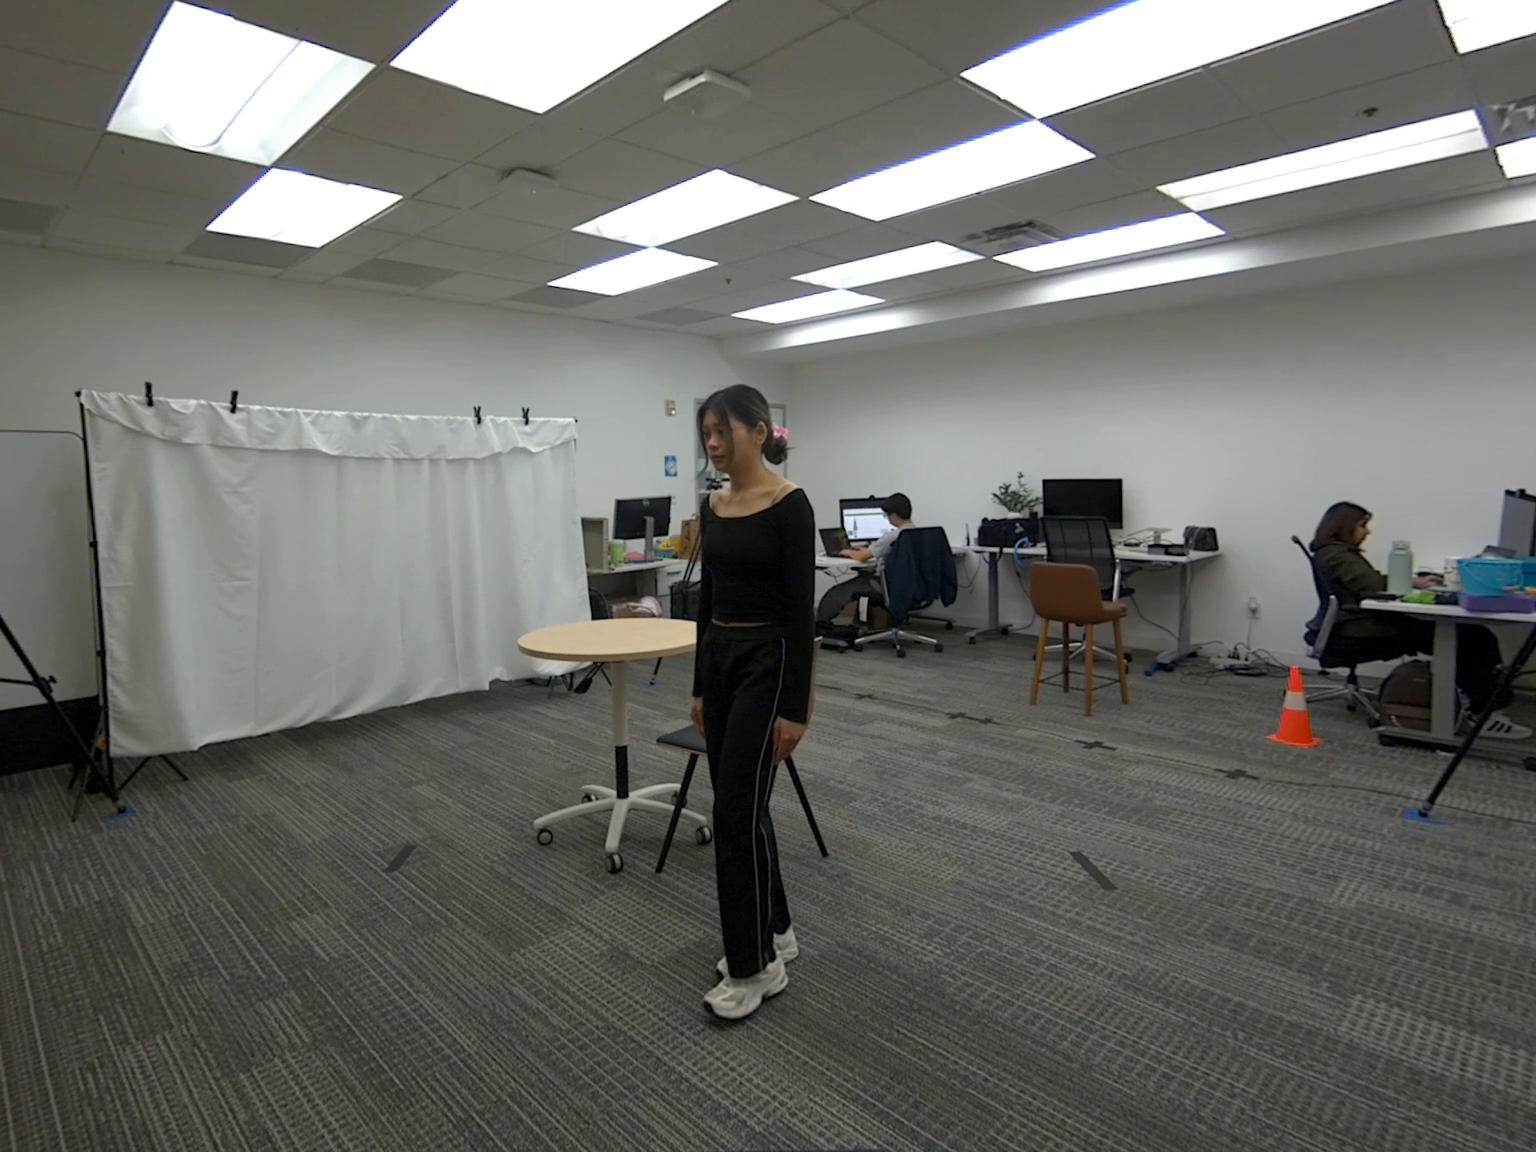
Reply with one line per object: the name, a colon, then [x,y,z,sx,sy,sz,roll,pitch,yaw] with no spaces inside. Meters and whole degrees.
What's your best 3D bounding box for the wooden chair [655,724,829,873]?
wooden chair: [-0.097,0.619,3.064,0.539,0.872,0.466,8,8,33]
